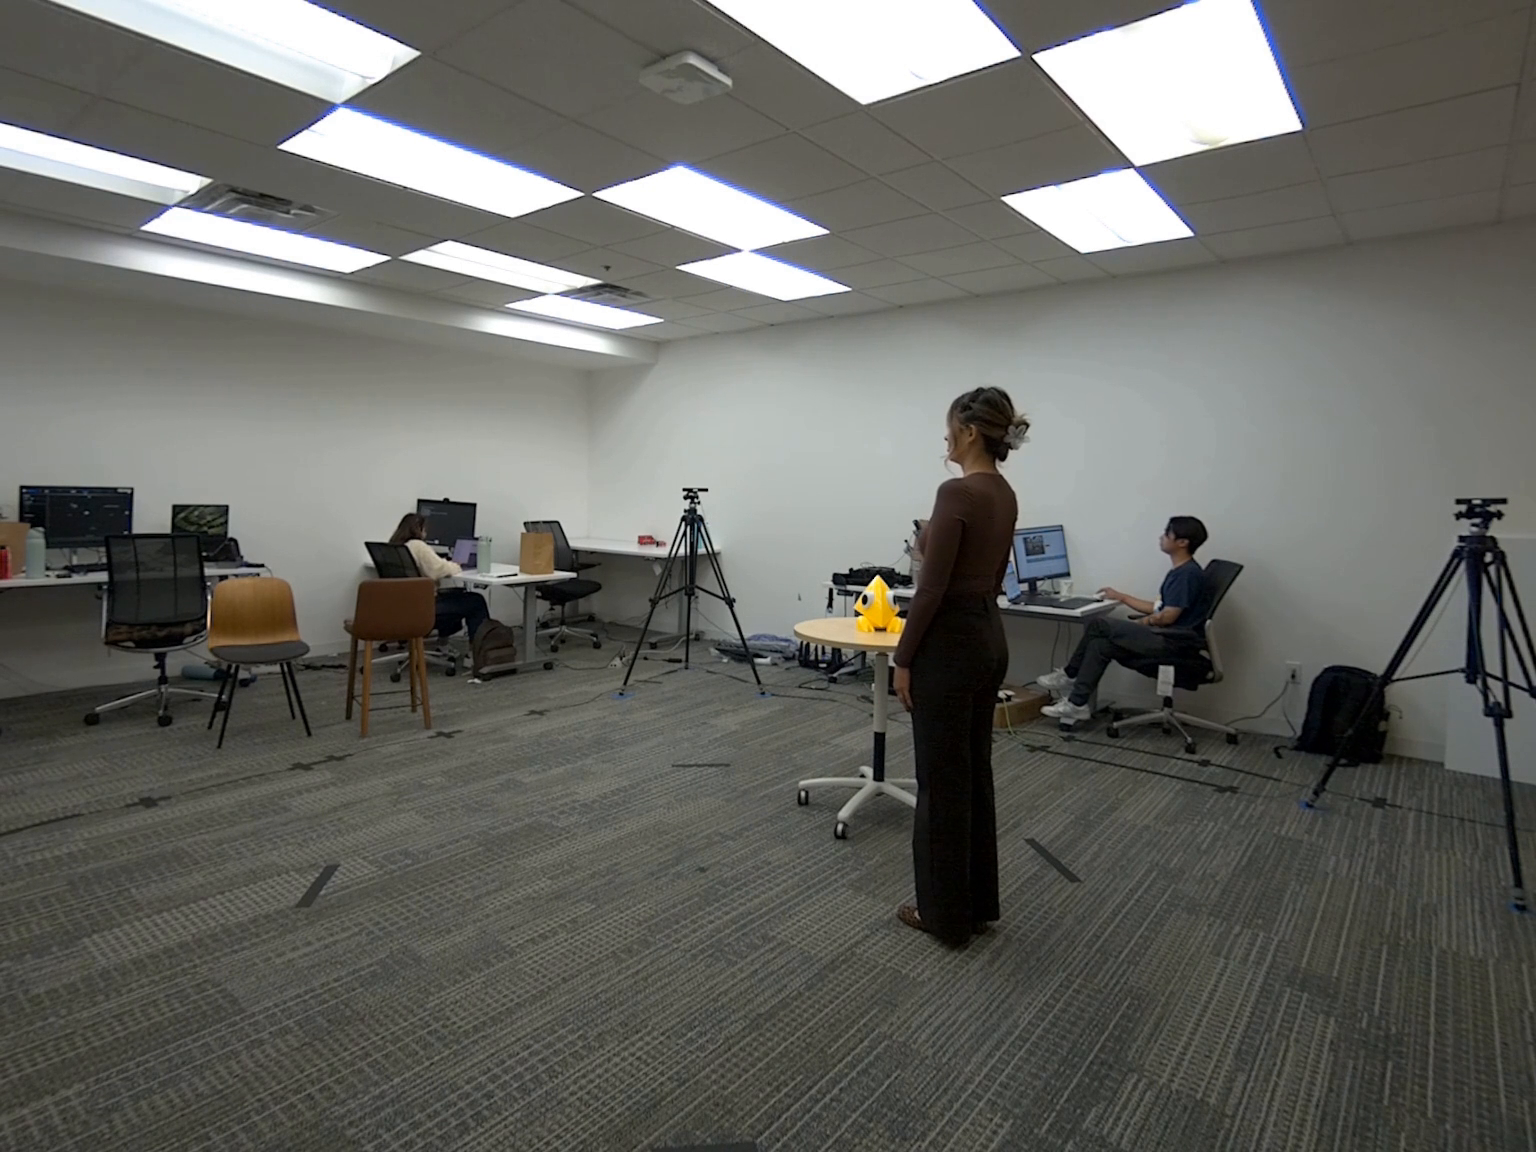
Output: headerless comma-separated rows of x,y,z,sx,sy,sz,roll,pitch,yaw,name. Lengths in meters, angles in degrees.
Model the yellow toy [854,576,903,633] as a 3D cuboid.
0.480,0.115,3.700,0.205,0.230,0.193,1,4,0,yellow toy
